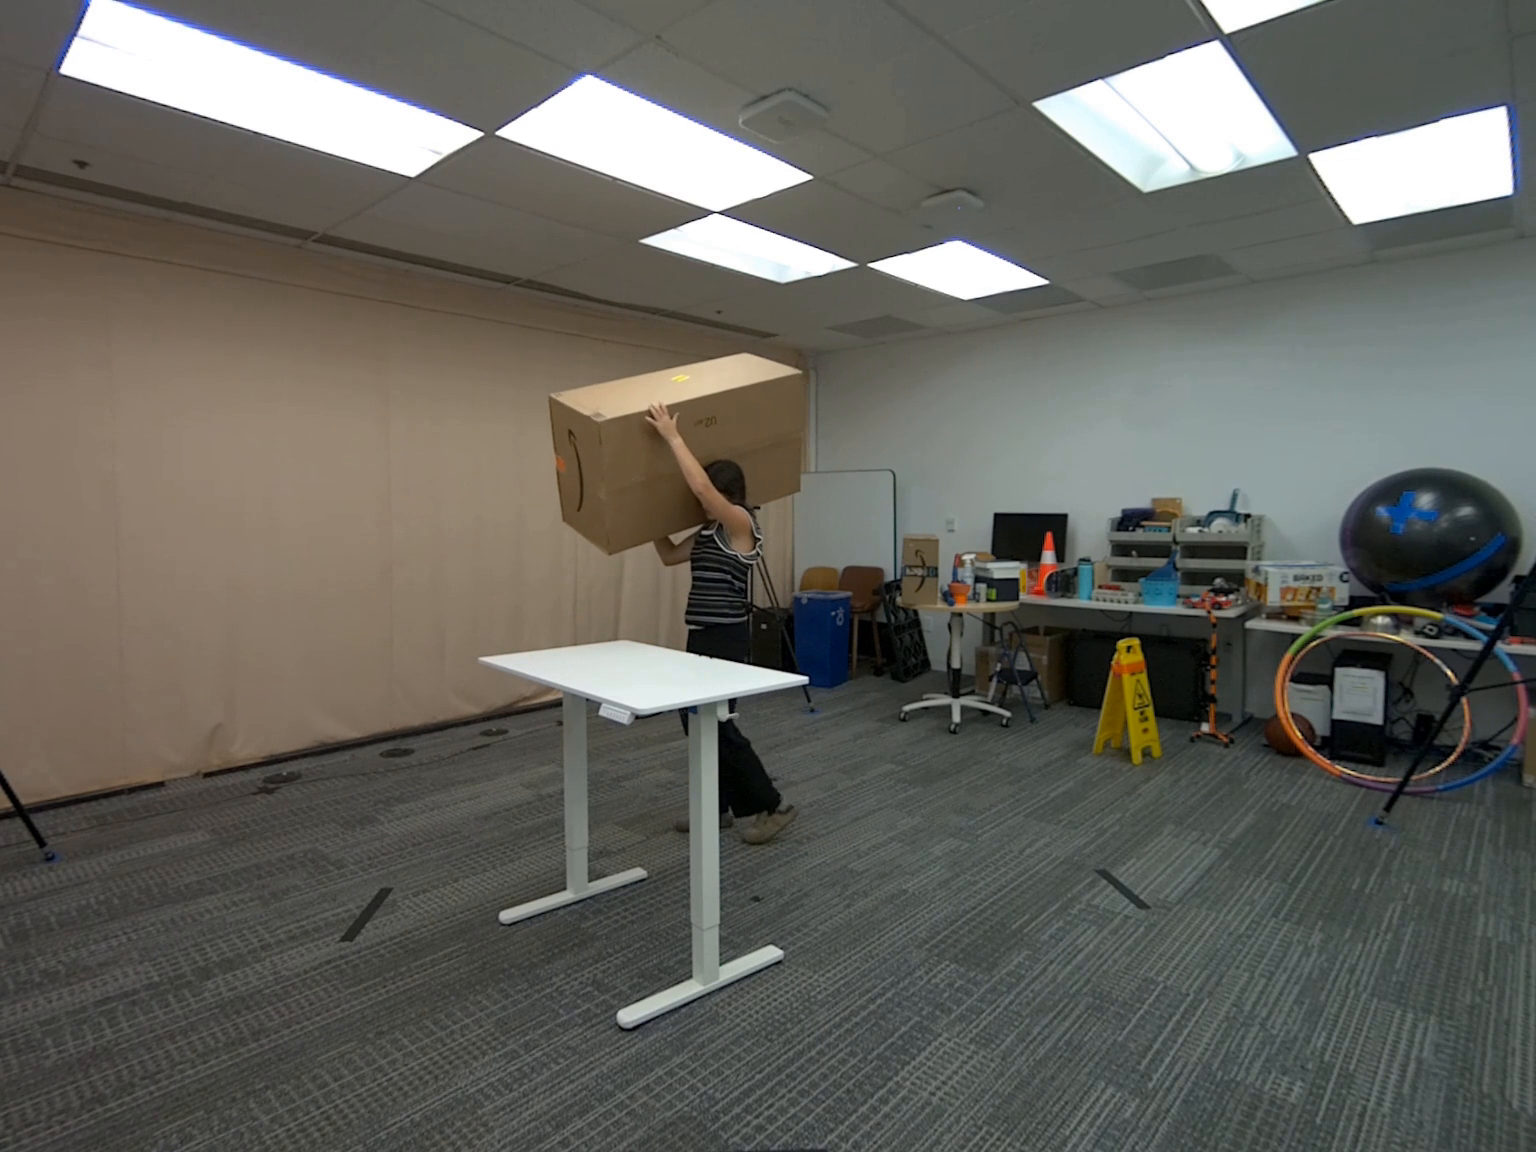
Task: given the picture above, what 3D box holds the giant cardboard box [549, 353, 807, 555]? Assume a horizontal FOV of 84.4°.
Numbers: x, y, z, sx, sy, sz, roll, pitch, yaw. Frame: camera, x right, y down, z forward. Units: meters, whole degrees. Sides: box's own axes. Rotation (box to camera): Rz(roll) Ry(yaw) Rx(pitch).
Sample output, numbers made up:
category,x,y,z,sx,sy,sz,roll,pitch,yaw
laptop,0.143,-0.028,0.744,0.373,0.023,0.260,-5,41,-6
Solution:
category,x,y,z,sx,sy,sz,roll,pitch,yaw
giant cardboard box,-0.371,-0.558,3.680,1.004,0.568,0.442,-21,35,-32
